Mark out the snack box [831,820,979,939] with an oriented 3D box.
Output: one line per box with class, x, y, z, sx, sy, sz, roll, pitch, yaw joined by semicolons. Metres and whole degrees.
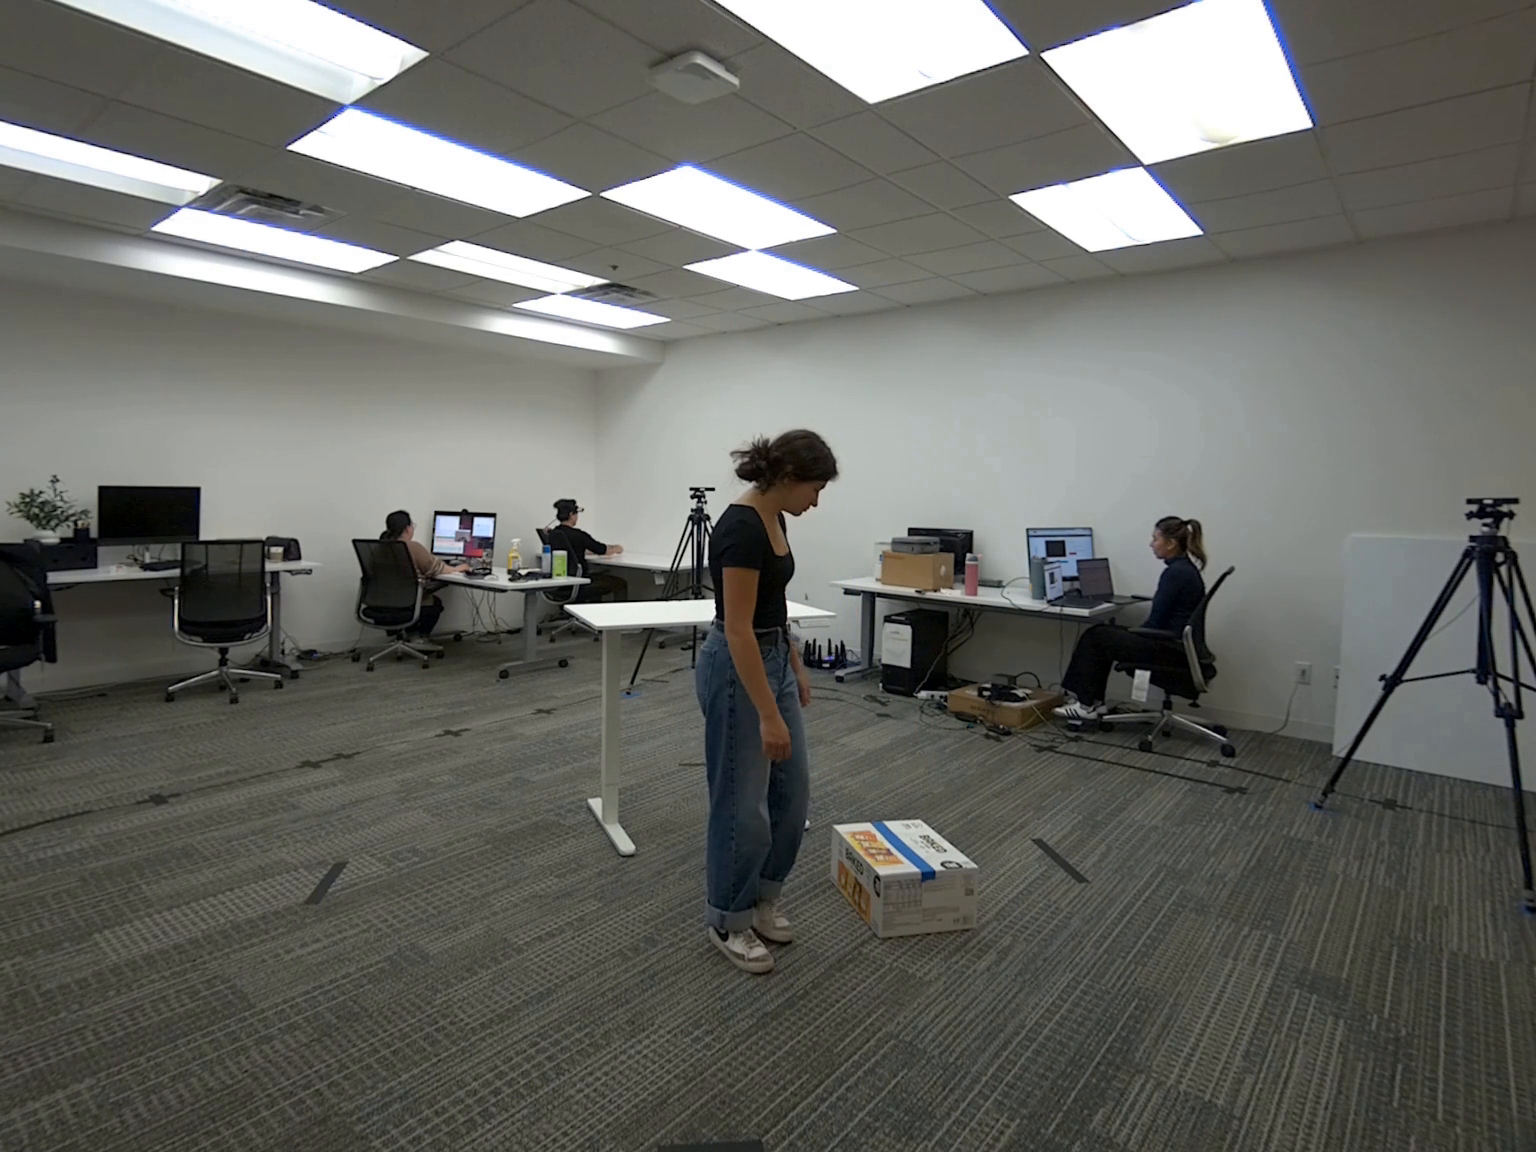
snack box;0.445;1.003;2.868;0.335;0.205;0.413;0;5;-16
